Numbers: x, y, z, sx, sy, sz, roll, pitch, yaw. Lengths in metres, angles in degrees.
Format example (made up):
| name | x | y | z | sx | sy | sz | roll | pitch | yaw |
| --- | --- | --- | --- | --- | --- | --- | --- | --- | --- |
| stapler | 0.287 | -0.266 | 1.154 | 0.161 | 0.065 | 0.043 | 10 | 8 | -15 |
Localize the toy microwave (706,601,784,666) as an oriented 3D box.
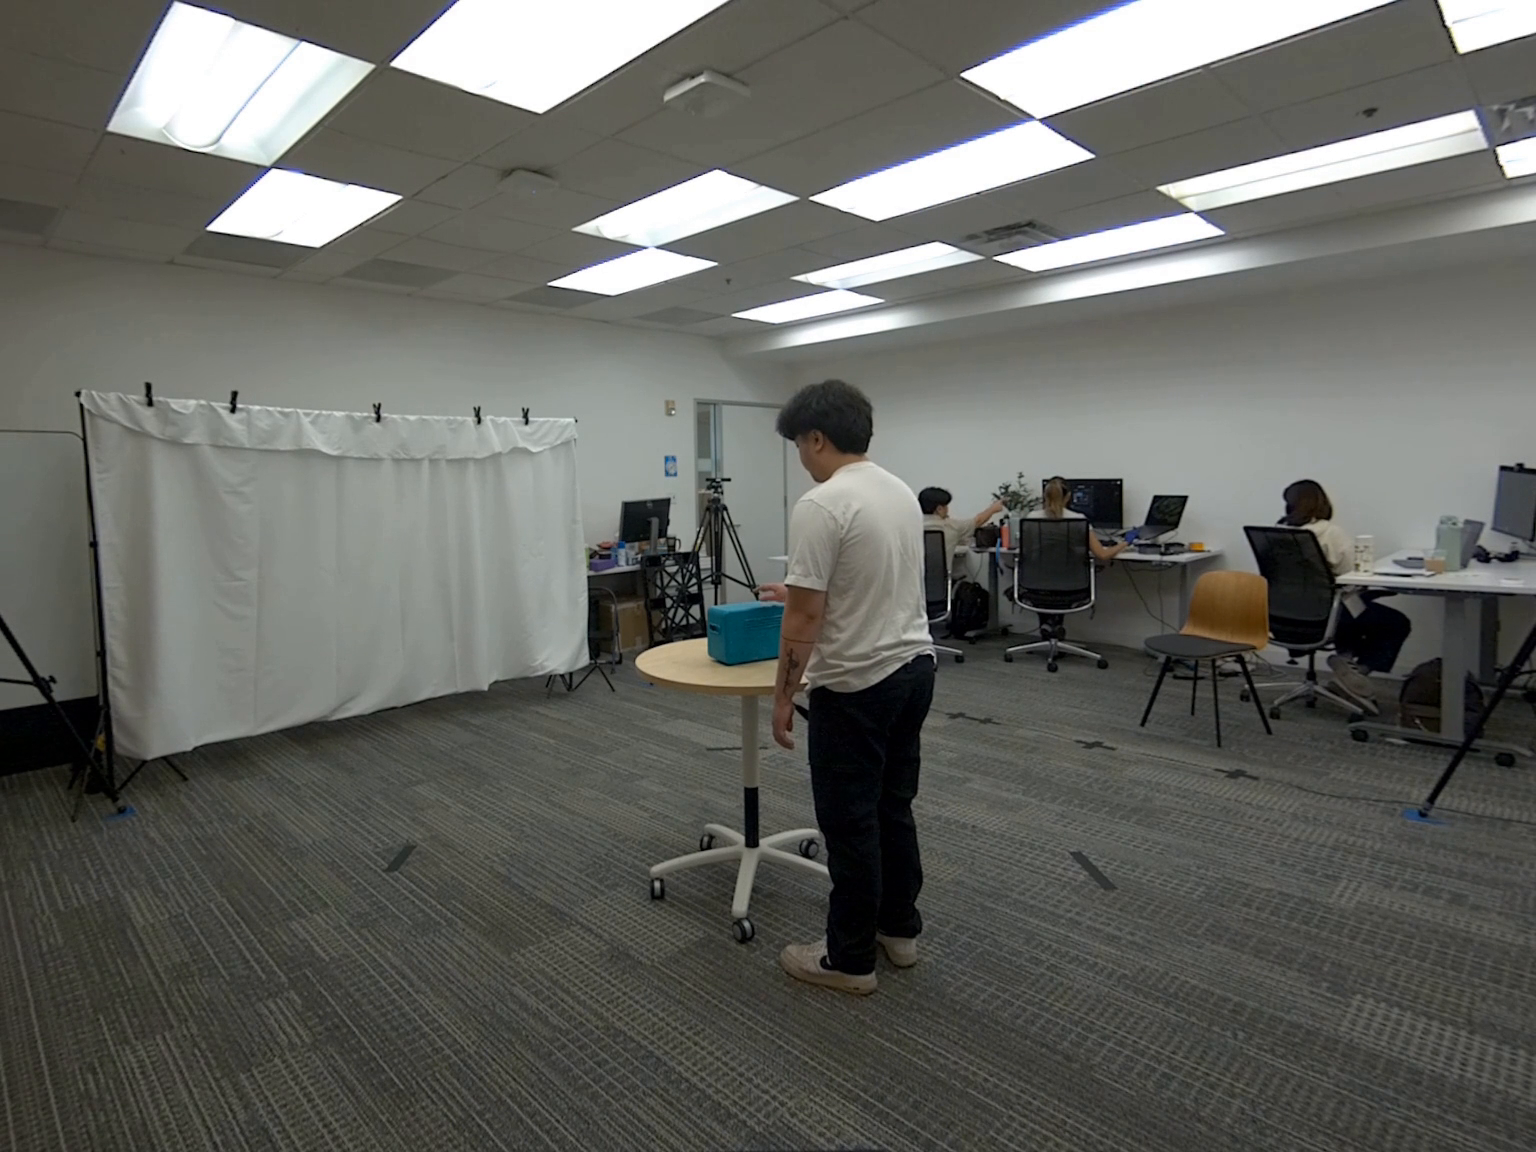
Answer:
| name | x | y | z | sx | sy | sz | roll | pitch | yaw |
| --- | --- | --- | --- | --- | --- | --- | --- | --- | --- |
| toy microwave | -0.058 | 0.183 | 2.871 | 0.279 | 0.183 | 0.157 | -5 | 7 | -30 |
